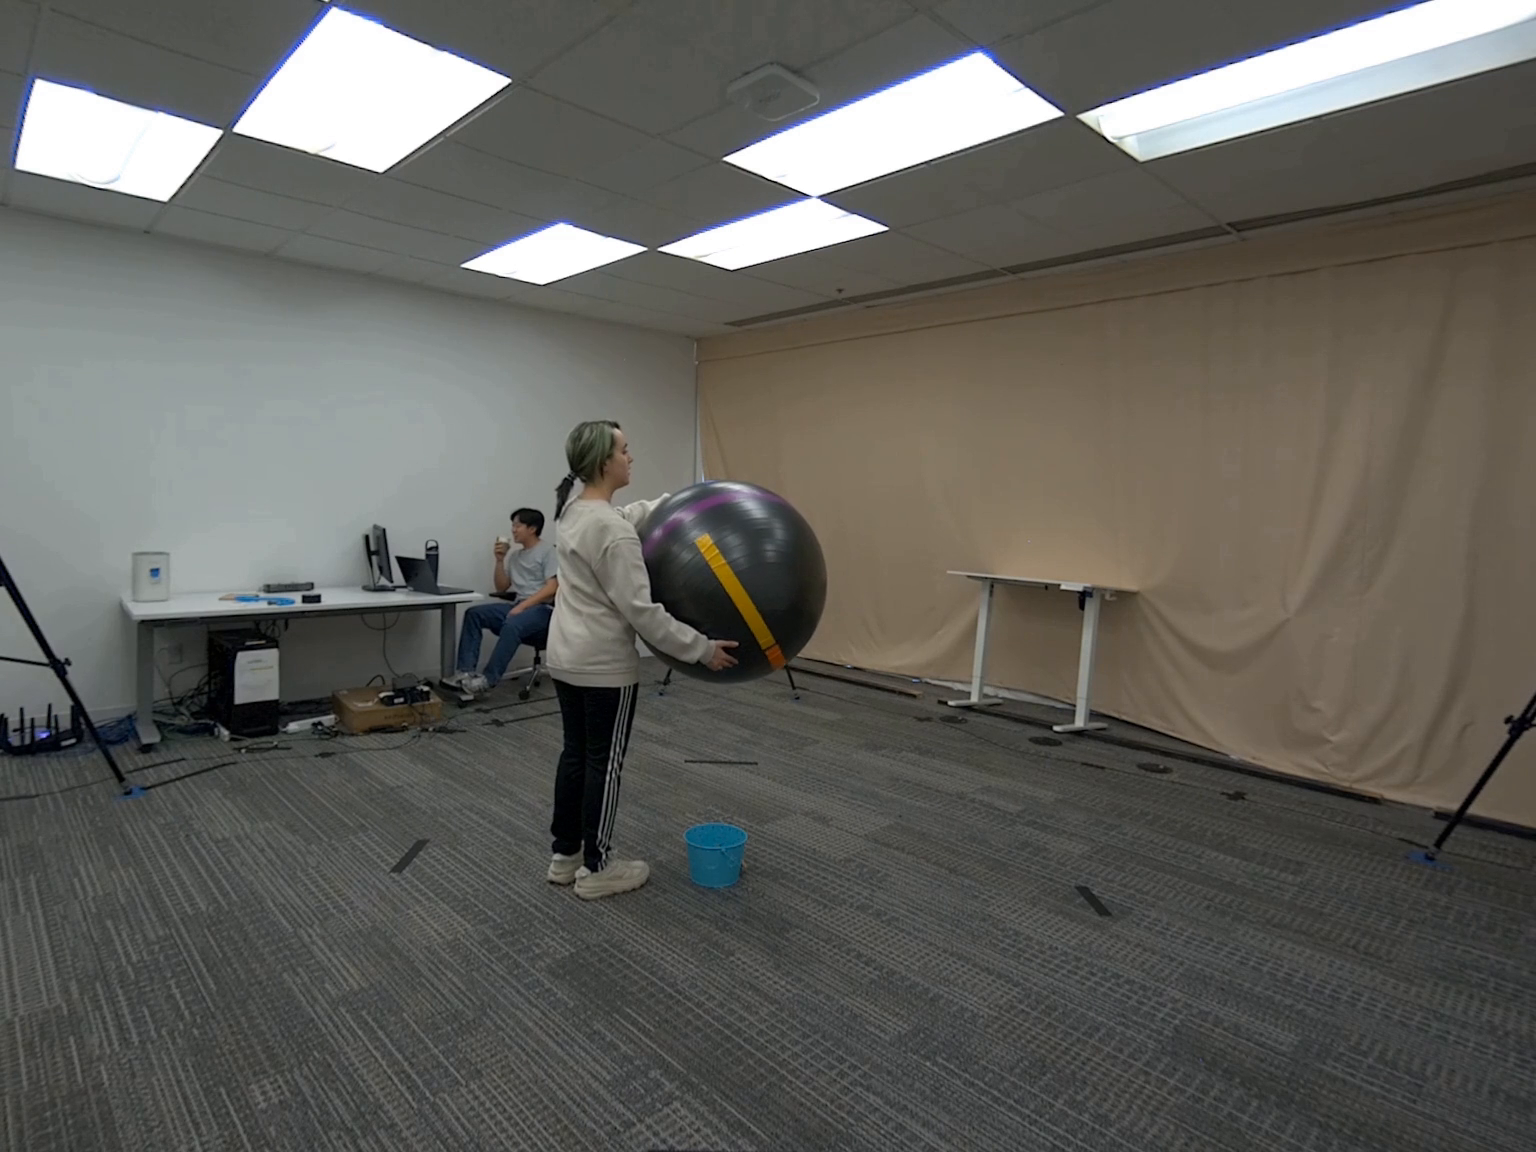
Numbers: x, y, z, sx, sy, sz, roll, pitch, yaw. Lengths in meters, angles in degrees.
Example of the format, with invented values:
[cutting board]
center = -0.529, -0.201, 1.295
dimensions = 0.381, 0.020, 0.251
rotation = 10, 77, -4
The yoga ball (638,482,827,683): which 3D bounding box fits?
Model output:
[yoga ball]
center = -0.161, 0.031, 3.154
dimensions = 0.757, 0.756, 0.761
rotation = 1, 4, -1
